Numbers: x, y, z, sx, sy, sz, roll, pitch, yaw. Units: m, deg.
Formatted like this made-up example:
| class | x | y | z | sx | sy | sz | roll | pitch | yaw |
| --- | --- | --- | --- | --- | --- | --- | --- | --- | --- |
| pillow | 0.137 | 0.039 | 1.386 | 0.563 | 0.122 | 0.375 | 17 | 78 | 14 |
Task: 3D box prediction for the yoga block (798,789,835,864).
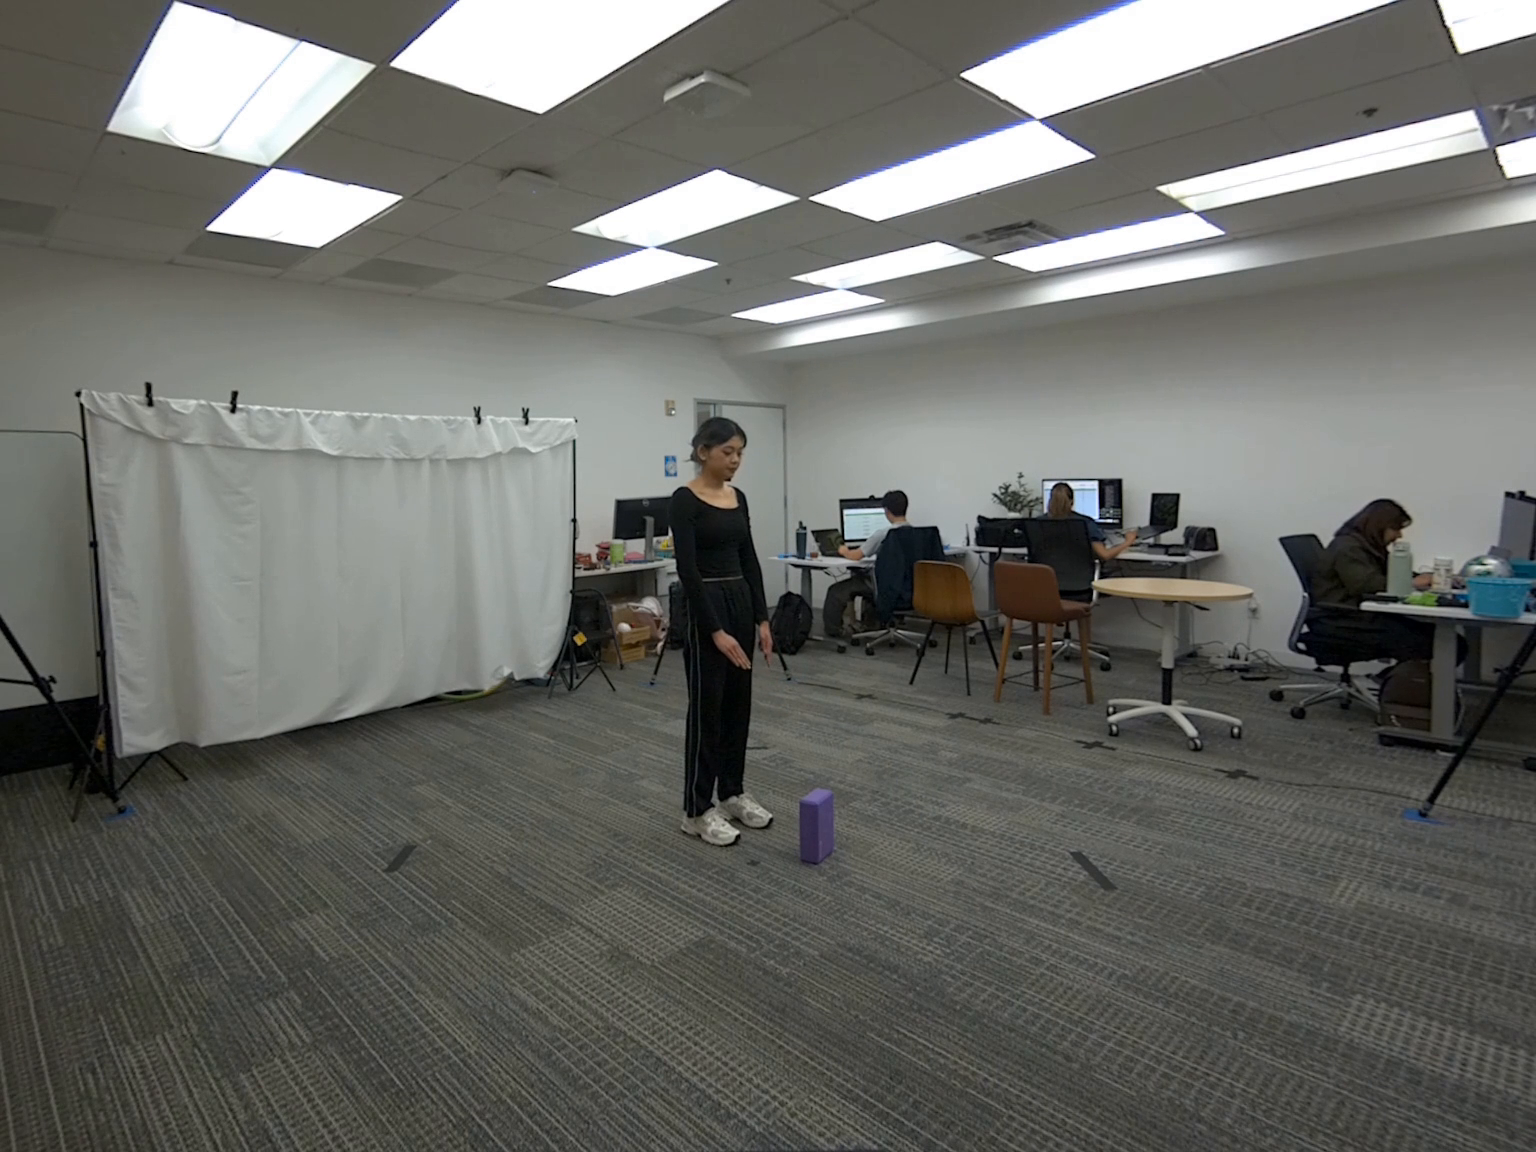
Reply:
| class | x | y | z | sx | sy | sz | roll | pitch | yaw |
| --- | --- | --- | --- | --- | --- | --- | --- | --- | --- |
| yoga block | 0.184 | 0.918 | 3.148 | 0.078 | 0.229 | 0.146 | 2 | 4 | 29 |
